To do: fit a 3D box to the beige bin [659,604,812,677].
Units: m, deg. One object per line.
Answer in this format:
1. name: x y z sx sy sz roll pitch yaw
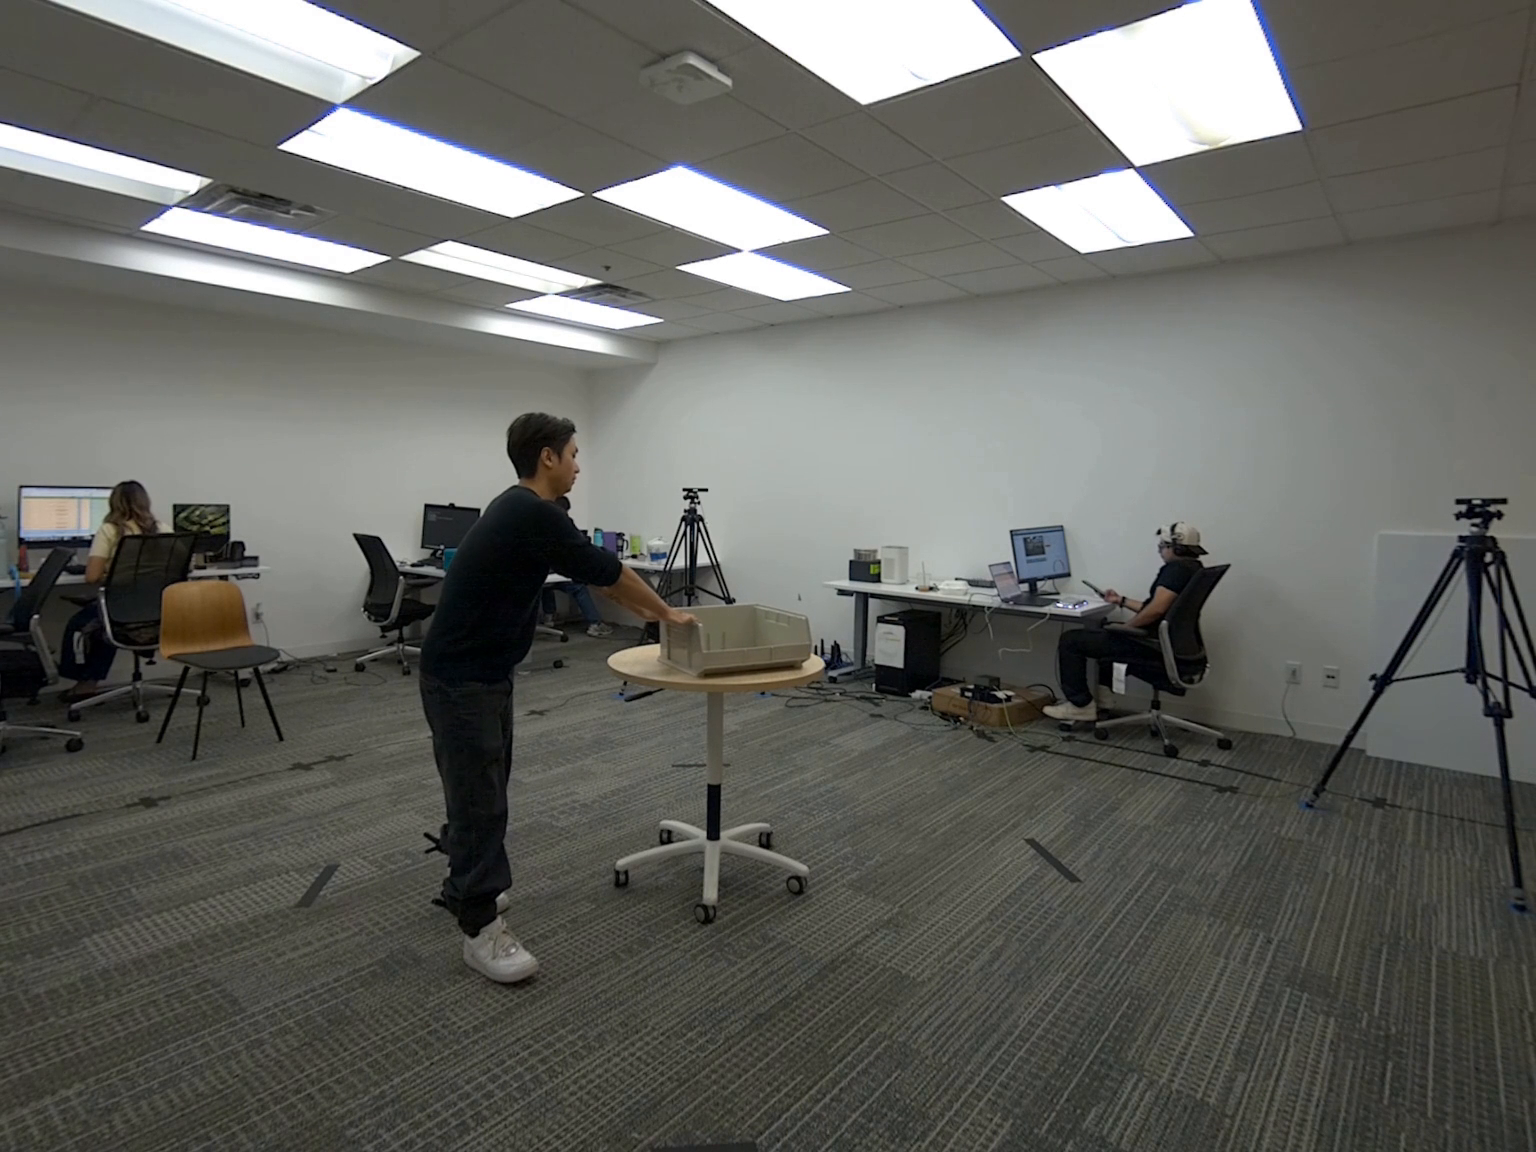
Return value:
1. beige bin: -0.133 0.213 2.936 0.411 0.188 0.388 -3 5 -29
